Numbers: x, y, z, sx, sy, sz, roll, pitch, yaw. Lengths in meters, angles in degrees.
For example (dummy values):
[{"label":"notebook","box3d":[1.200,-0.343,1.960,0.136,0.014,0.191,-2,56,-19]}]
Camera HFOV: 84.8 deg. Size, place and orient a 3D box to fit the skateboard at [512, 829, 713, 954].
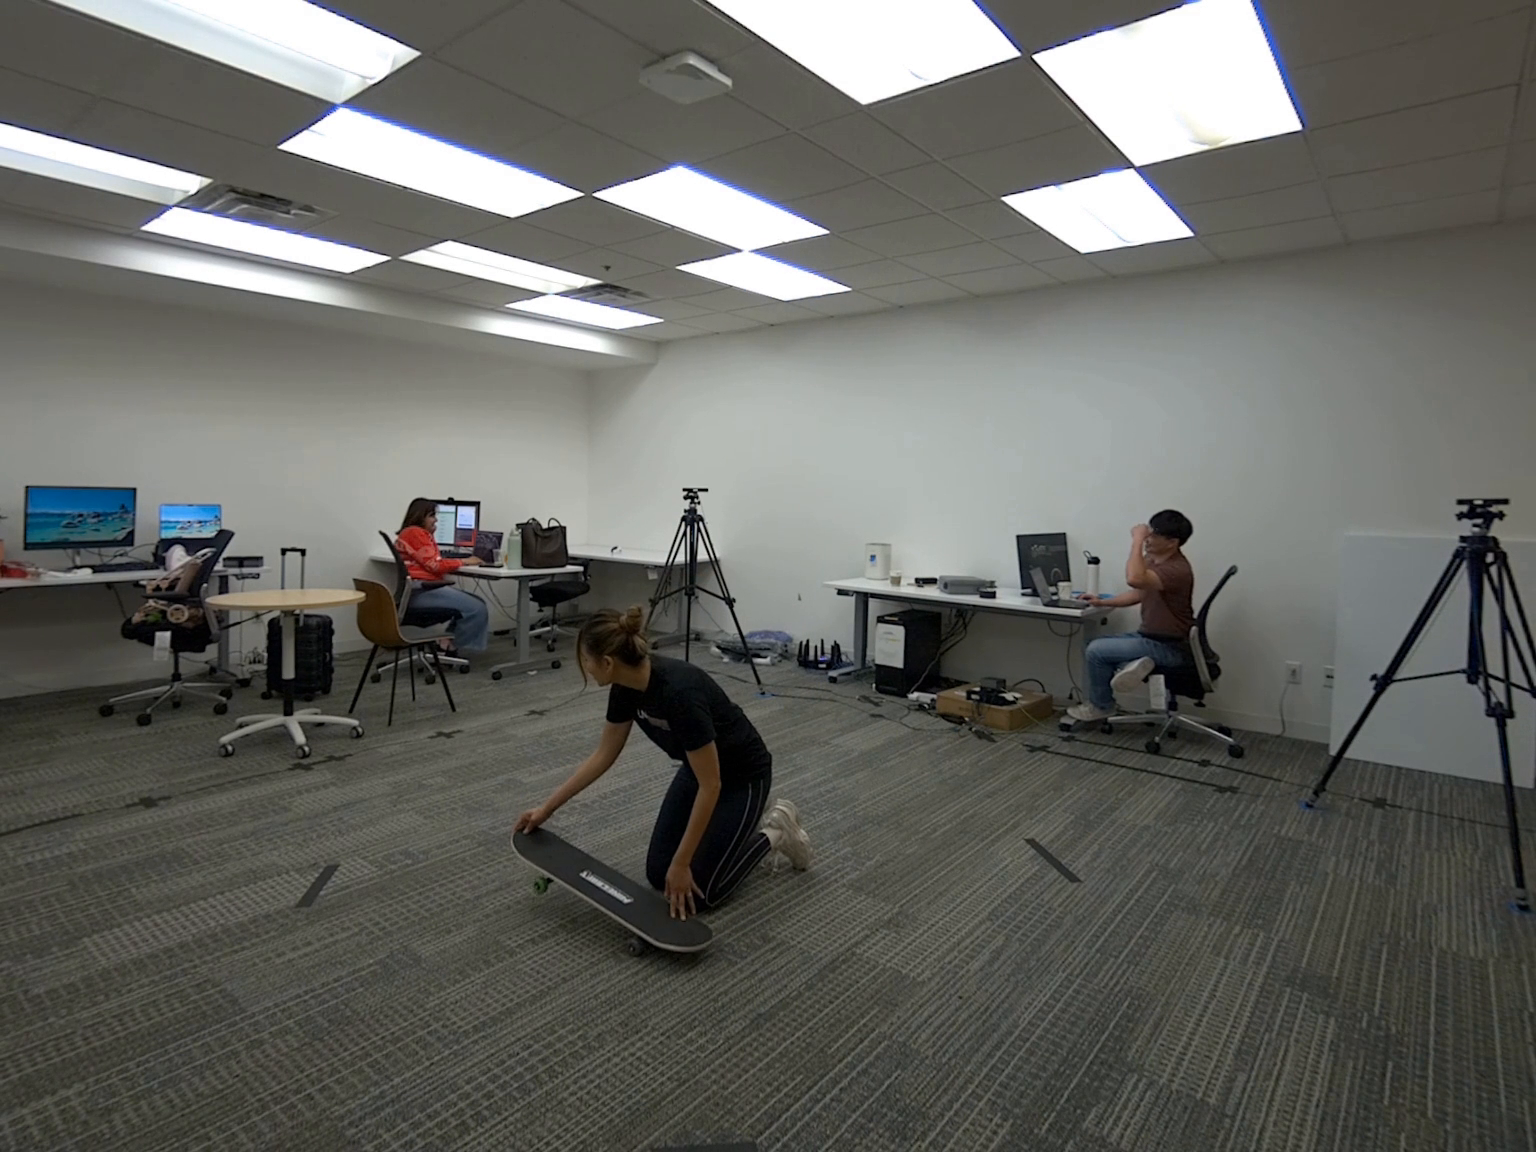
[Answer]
[{"label":"skateboard","box3d":[-0.518,1.006,2.687,0.812,0.109,0.188,17,11,30]}]
